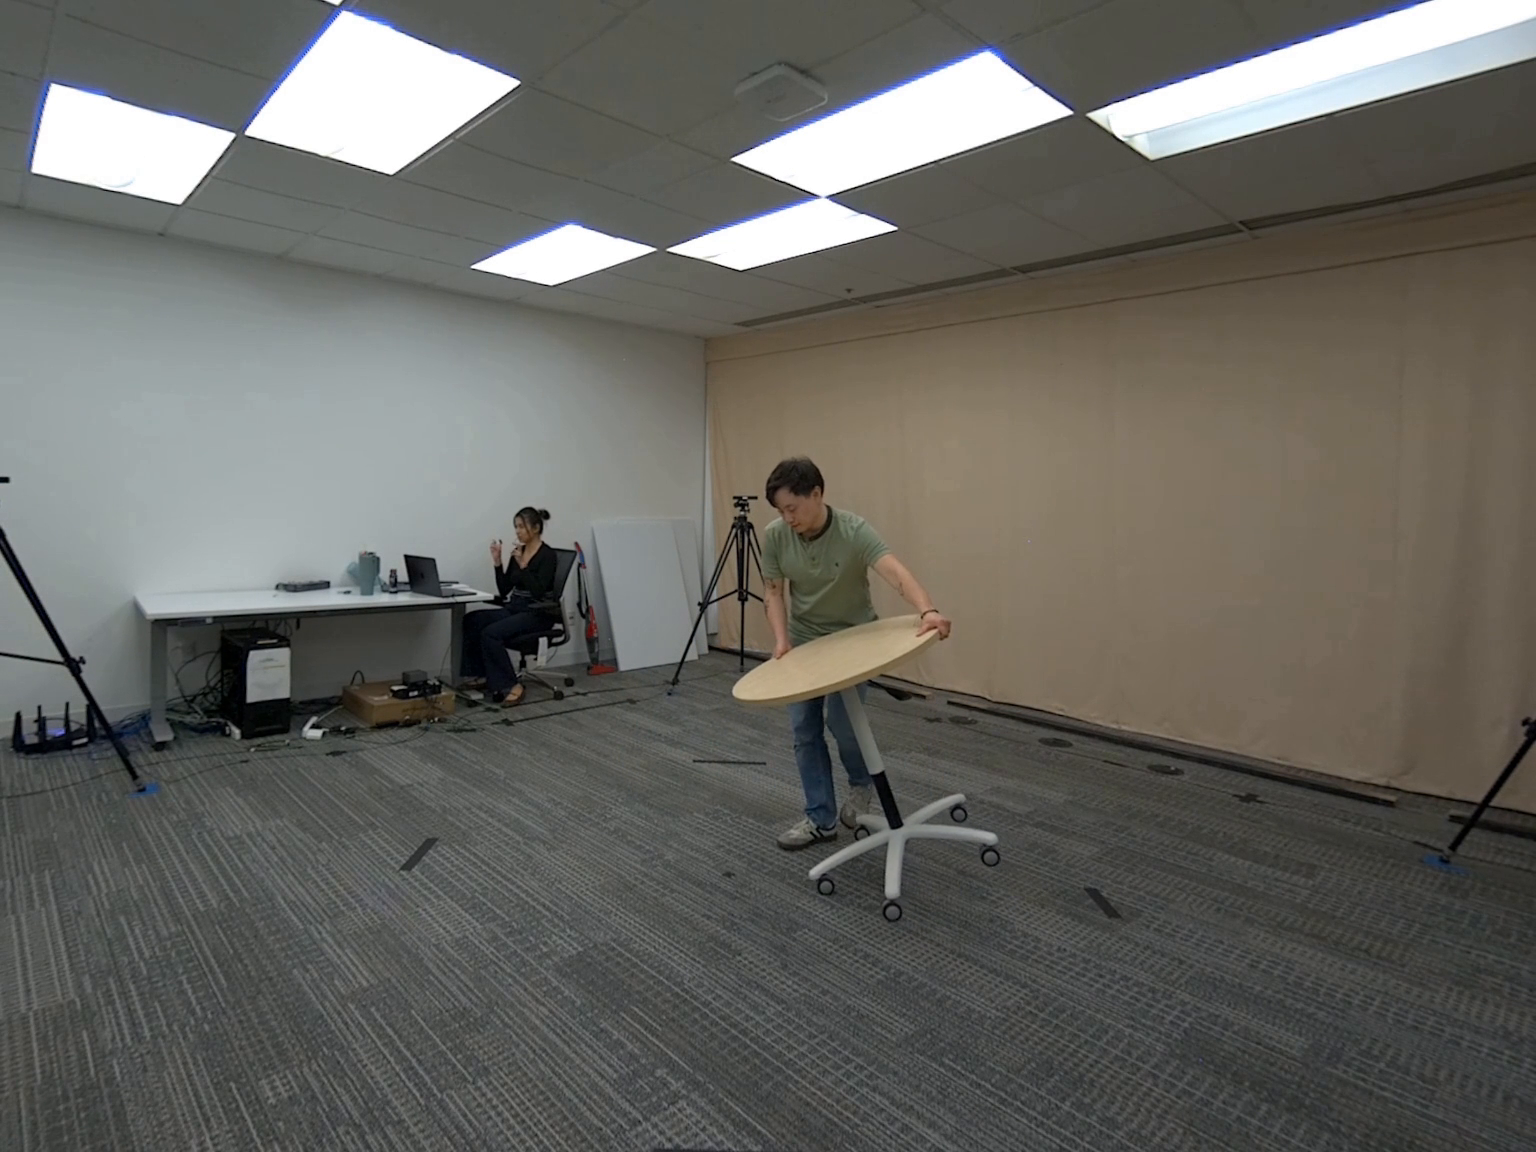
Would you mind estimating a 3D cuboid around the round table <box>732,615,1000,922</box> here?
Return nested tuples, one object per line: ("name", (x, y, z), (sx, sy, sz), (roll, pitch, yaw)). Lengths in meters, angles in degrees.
("round table", (0.369, 0.646, 2.953), (0.764, 0.791, 0.766), (-20, 4, 0))
